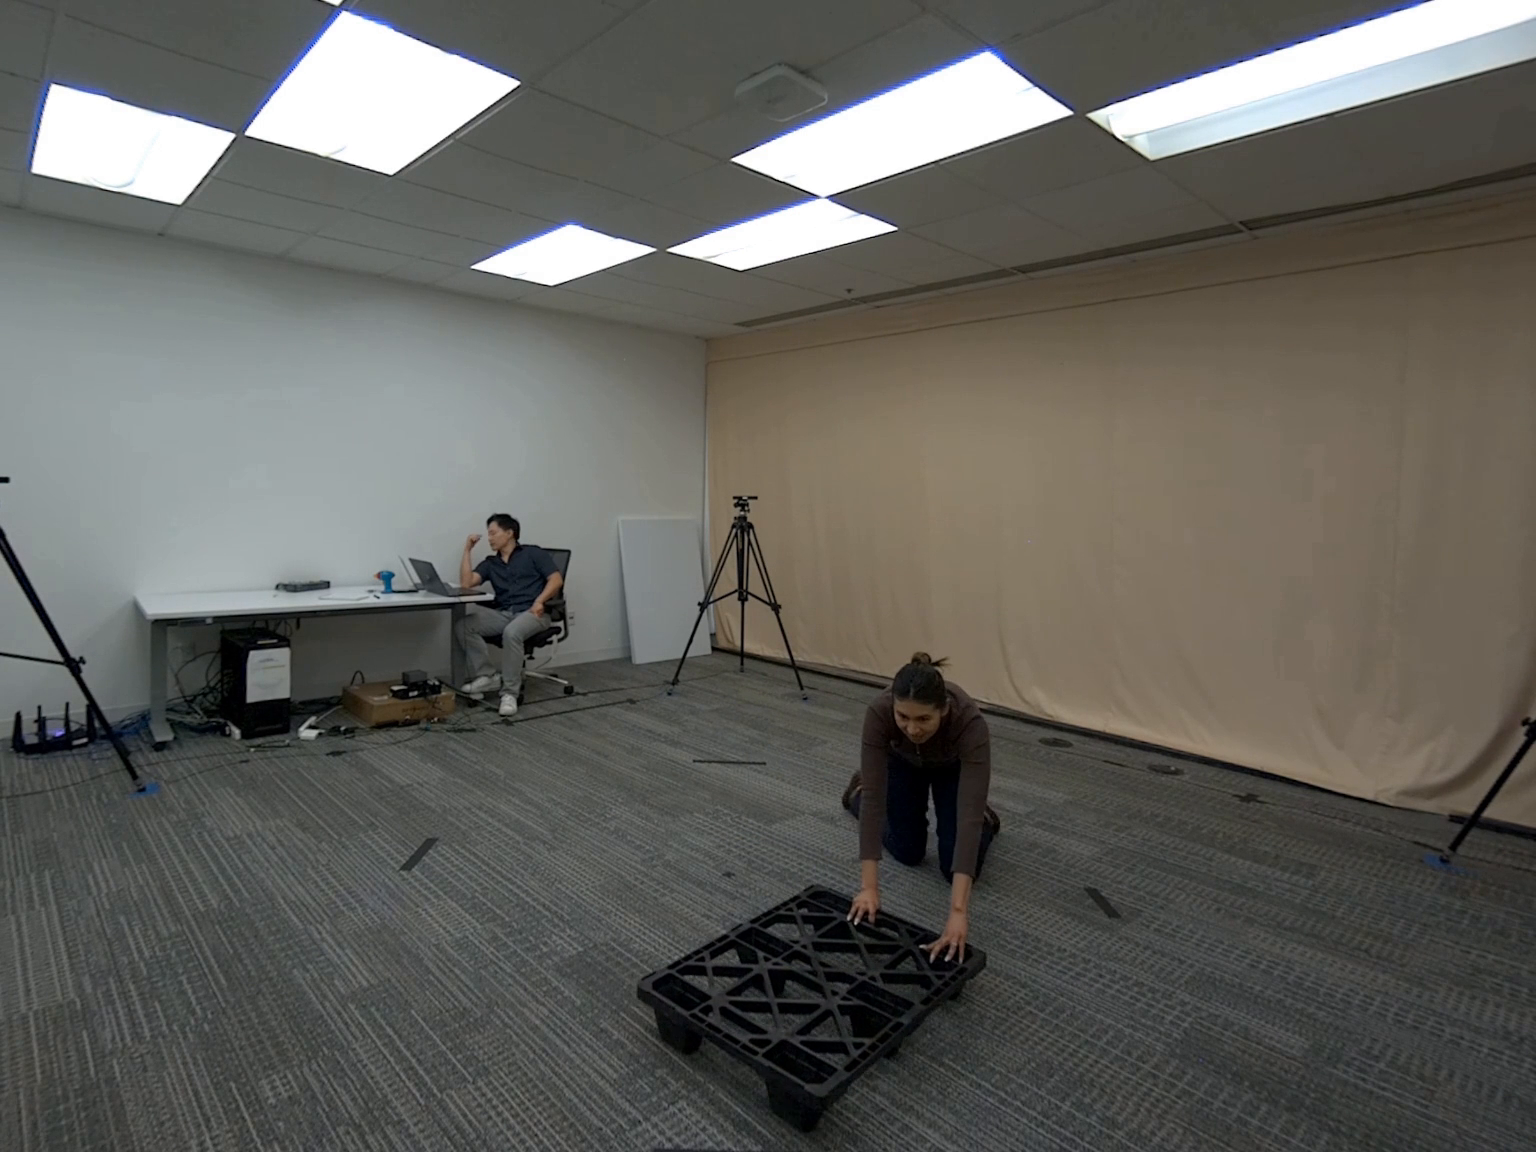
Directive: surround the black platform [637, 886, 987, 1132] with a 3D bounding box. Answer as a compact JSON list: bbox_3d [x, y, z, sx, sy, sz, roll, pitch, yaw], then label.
[{"bbox_3d":[0.133,1.121,2.271,0.621,0.143,0.788,7,8,40],"label":"black platform"}]
